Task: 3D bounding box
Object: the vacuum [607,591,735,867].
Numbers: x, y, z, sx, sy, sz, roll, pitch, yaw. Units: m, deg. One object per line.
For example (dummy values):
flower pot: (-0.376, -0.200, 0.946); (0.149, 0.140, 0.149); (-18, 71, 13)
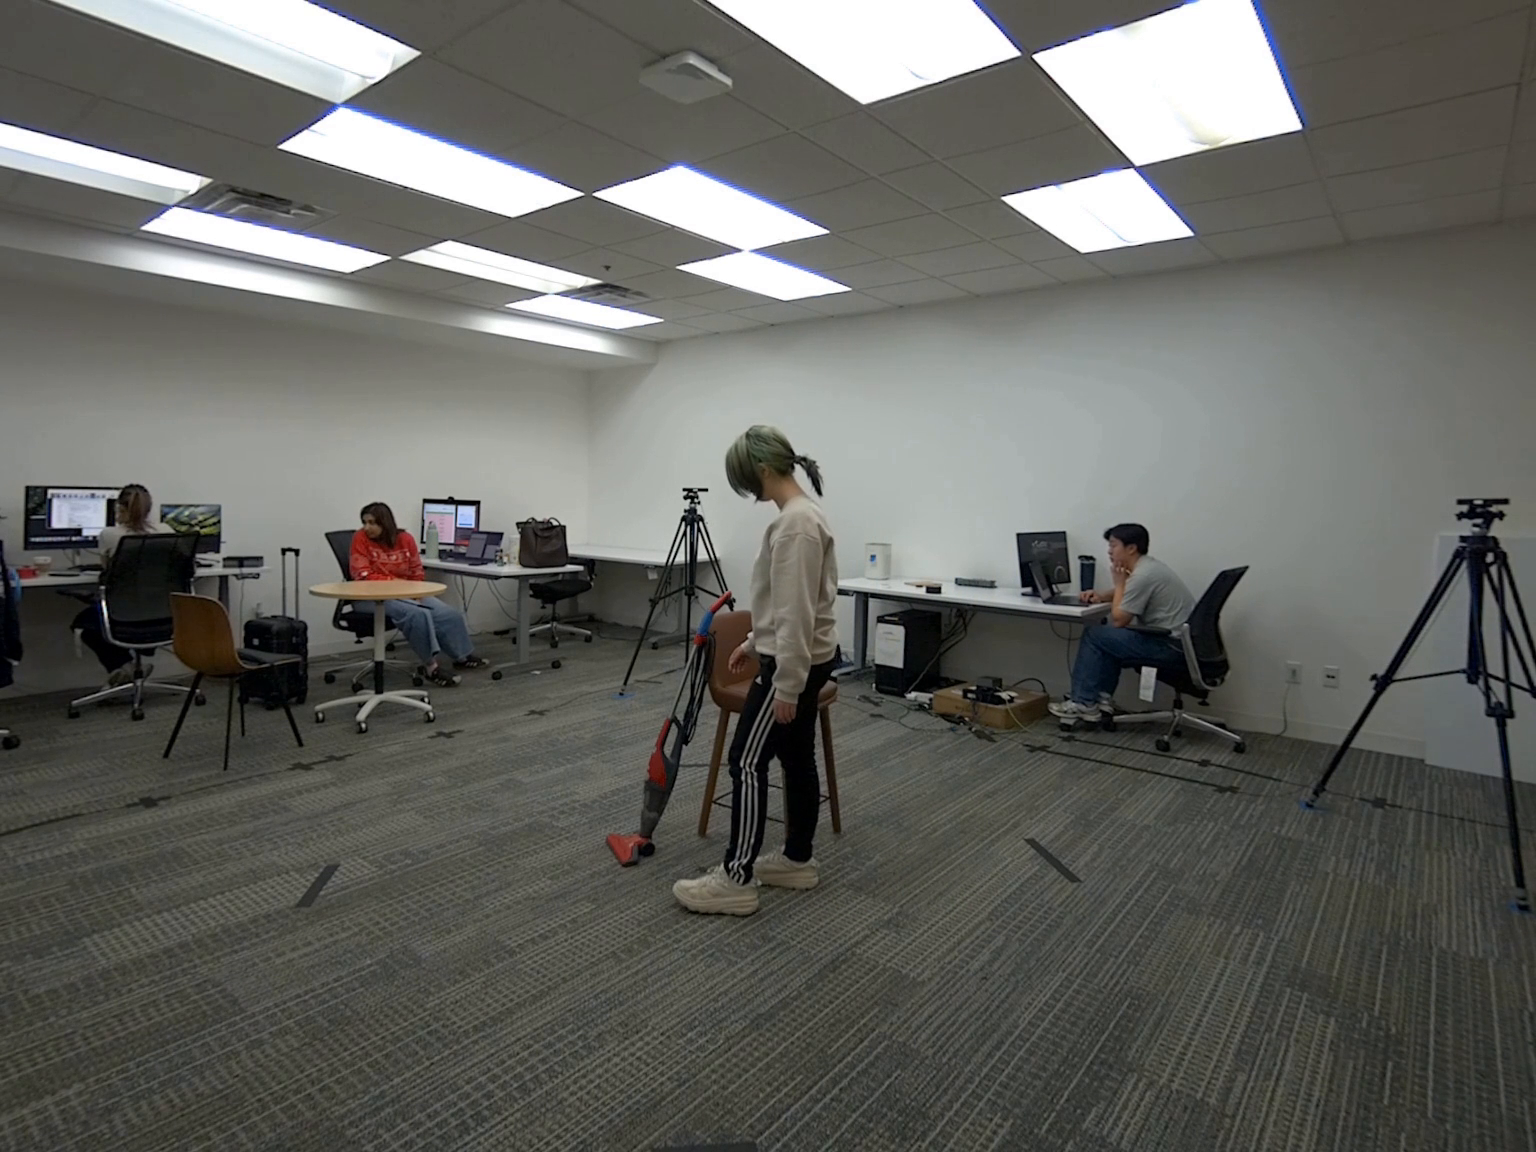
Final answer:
vacuum: (-0.360, 0.558, 3.296); (0.140, 1.052, 0.259); (22, -6, -25)
